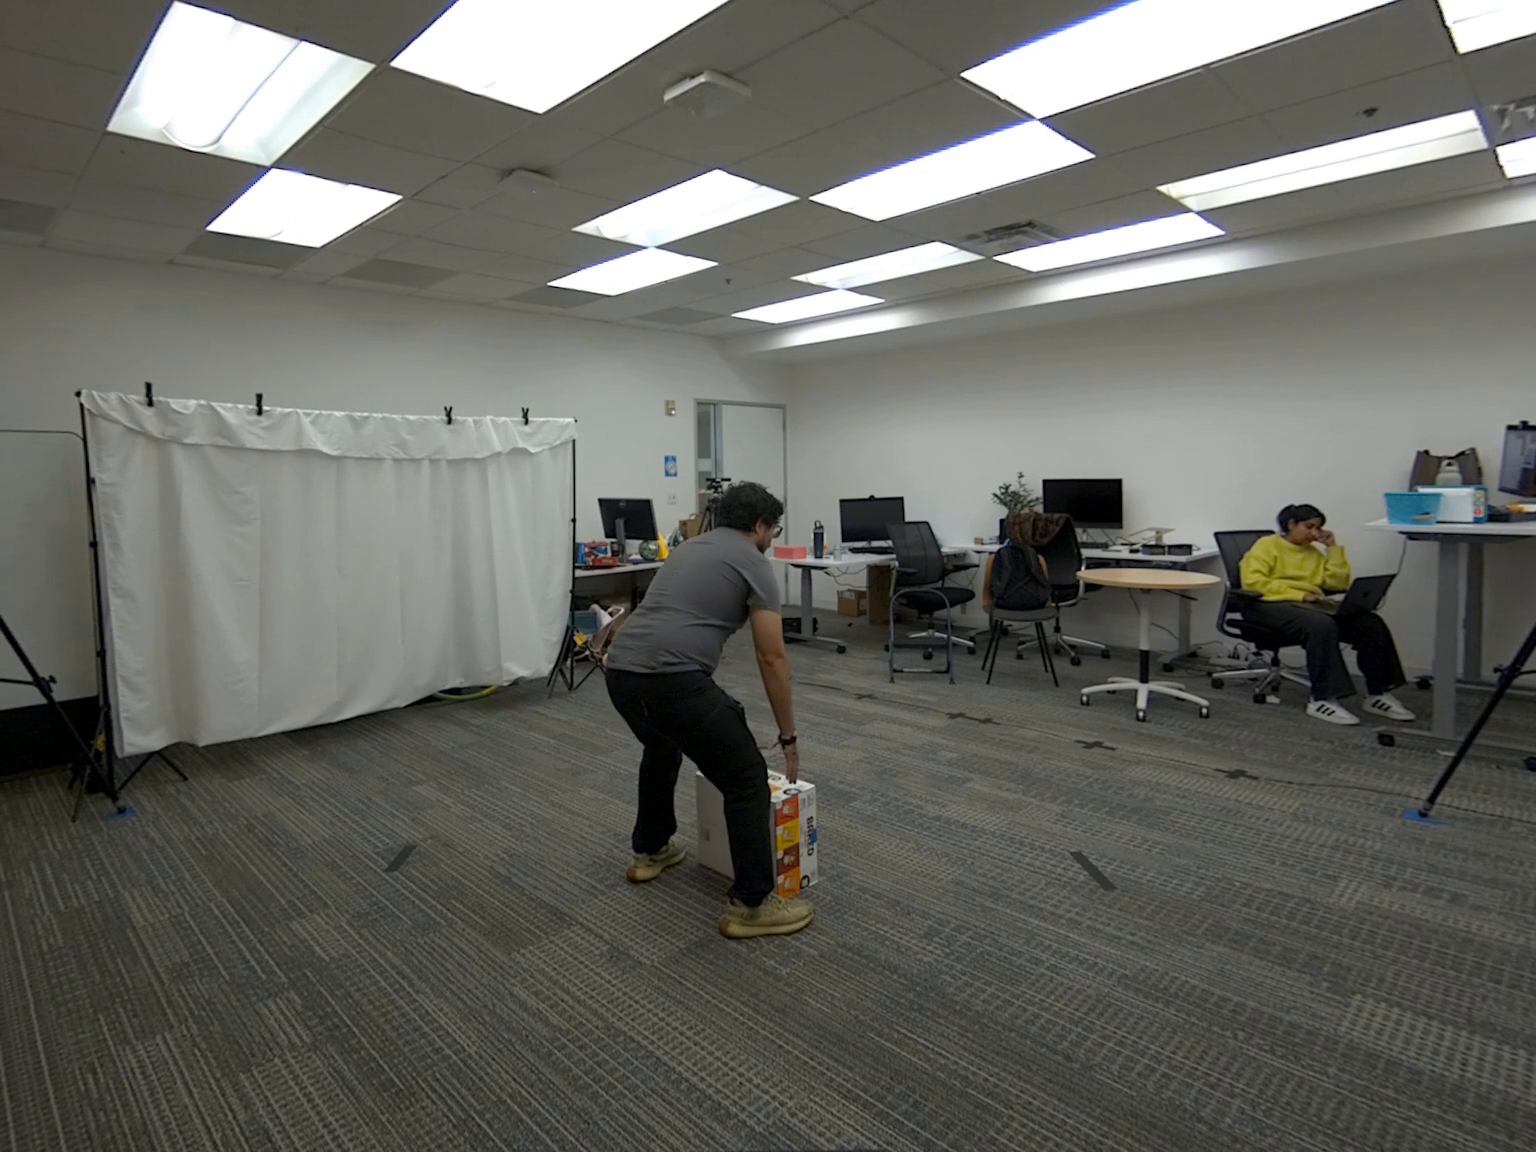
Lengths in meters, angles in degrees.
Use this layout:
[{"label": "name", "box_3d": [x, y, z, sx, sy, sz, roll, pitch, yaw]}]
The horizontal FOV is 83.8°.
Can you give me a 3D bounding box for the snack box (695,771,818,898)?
[{"label": "snack box", "box_3d": [-0.043, 0.883, 3.016, 0.200, 0.339, 0.418, -5, 7, -44]}]
